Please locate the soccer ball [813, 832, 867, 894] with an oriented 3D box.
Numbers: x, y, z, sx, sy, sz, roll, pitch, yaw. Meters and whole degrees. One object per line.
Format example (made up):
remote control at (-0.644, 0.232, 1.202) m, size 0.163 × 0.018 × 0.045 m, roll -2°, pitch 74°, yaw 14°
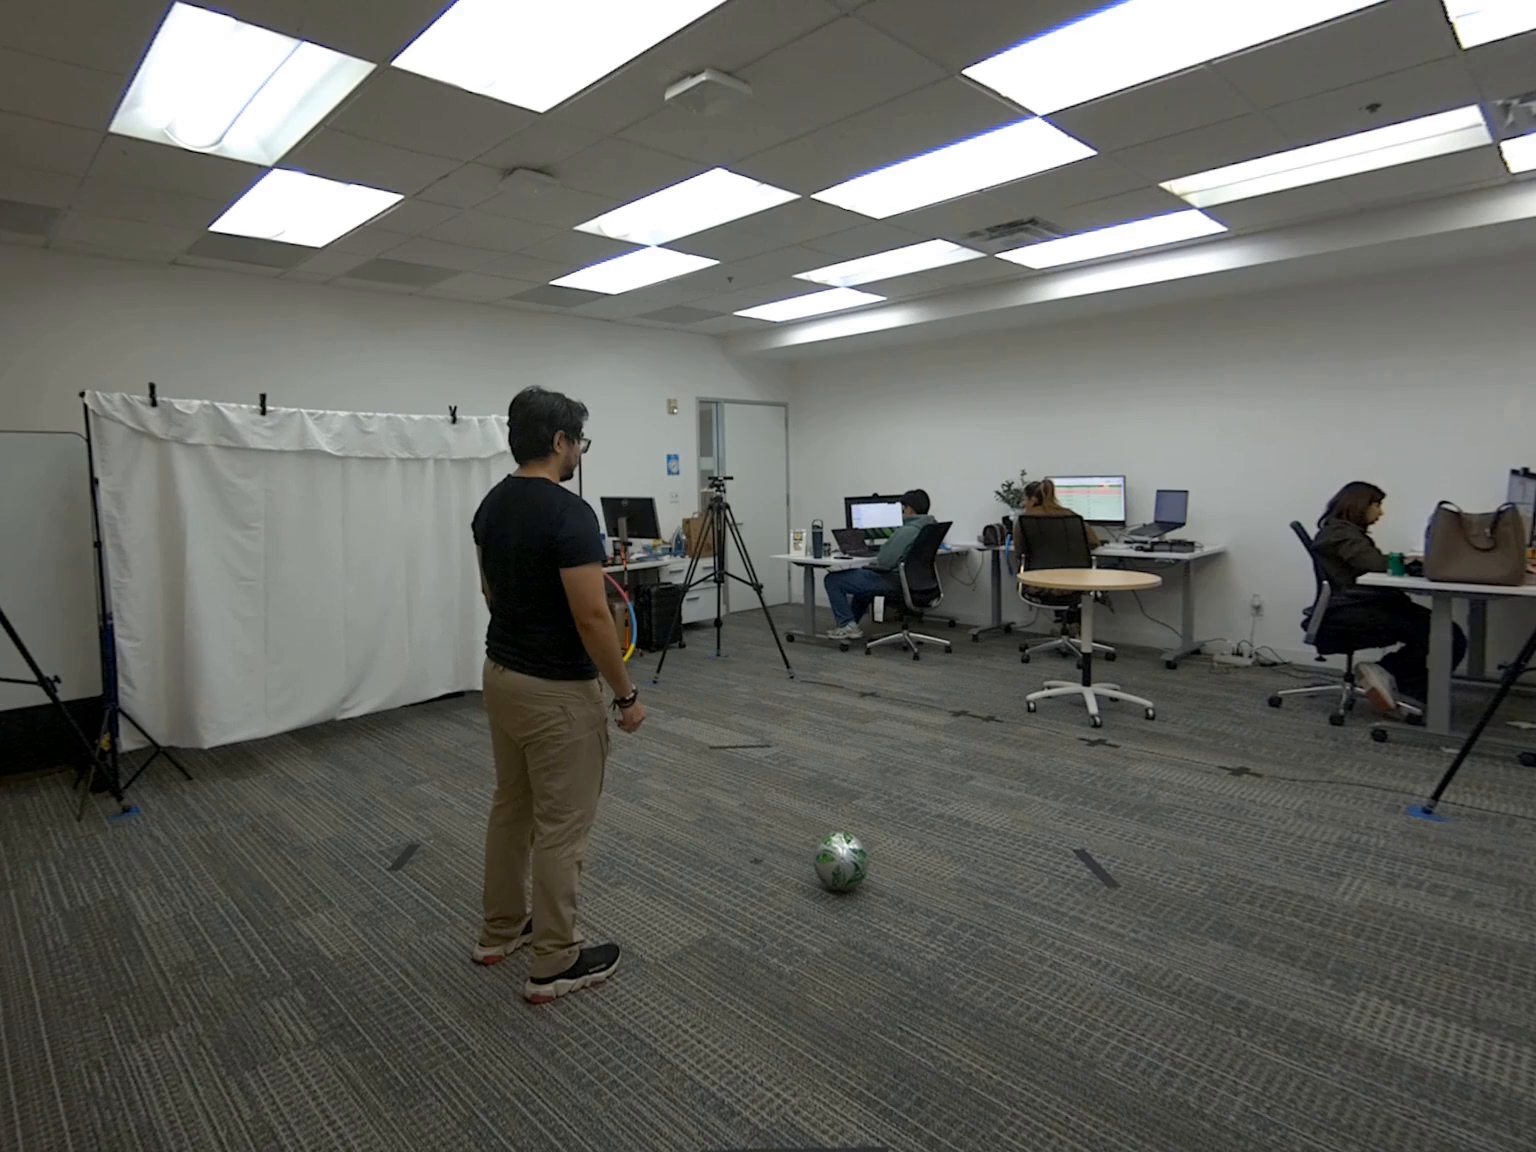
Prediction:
soccer ball at (0.249, 0.961, 2.886) m, size 0.187 × 0.187 × 0.188 m, roll -1°, pitch 5°, yaw -2°
